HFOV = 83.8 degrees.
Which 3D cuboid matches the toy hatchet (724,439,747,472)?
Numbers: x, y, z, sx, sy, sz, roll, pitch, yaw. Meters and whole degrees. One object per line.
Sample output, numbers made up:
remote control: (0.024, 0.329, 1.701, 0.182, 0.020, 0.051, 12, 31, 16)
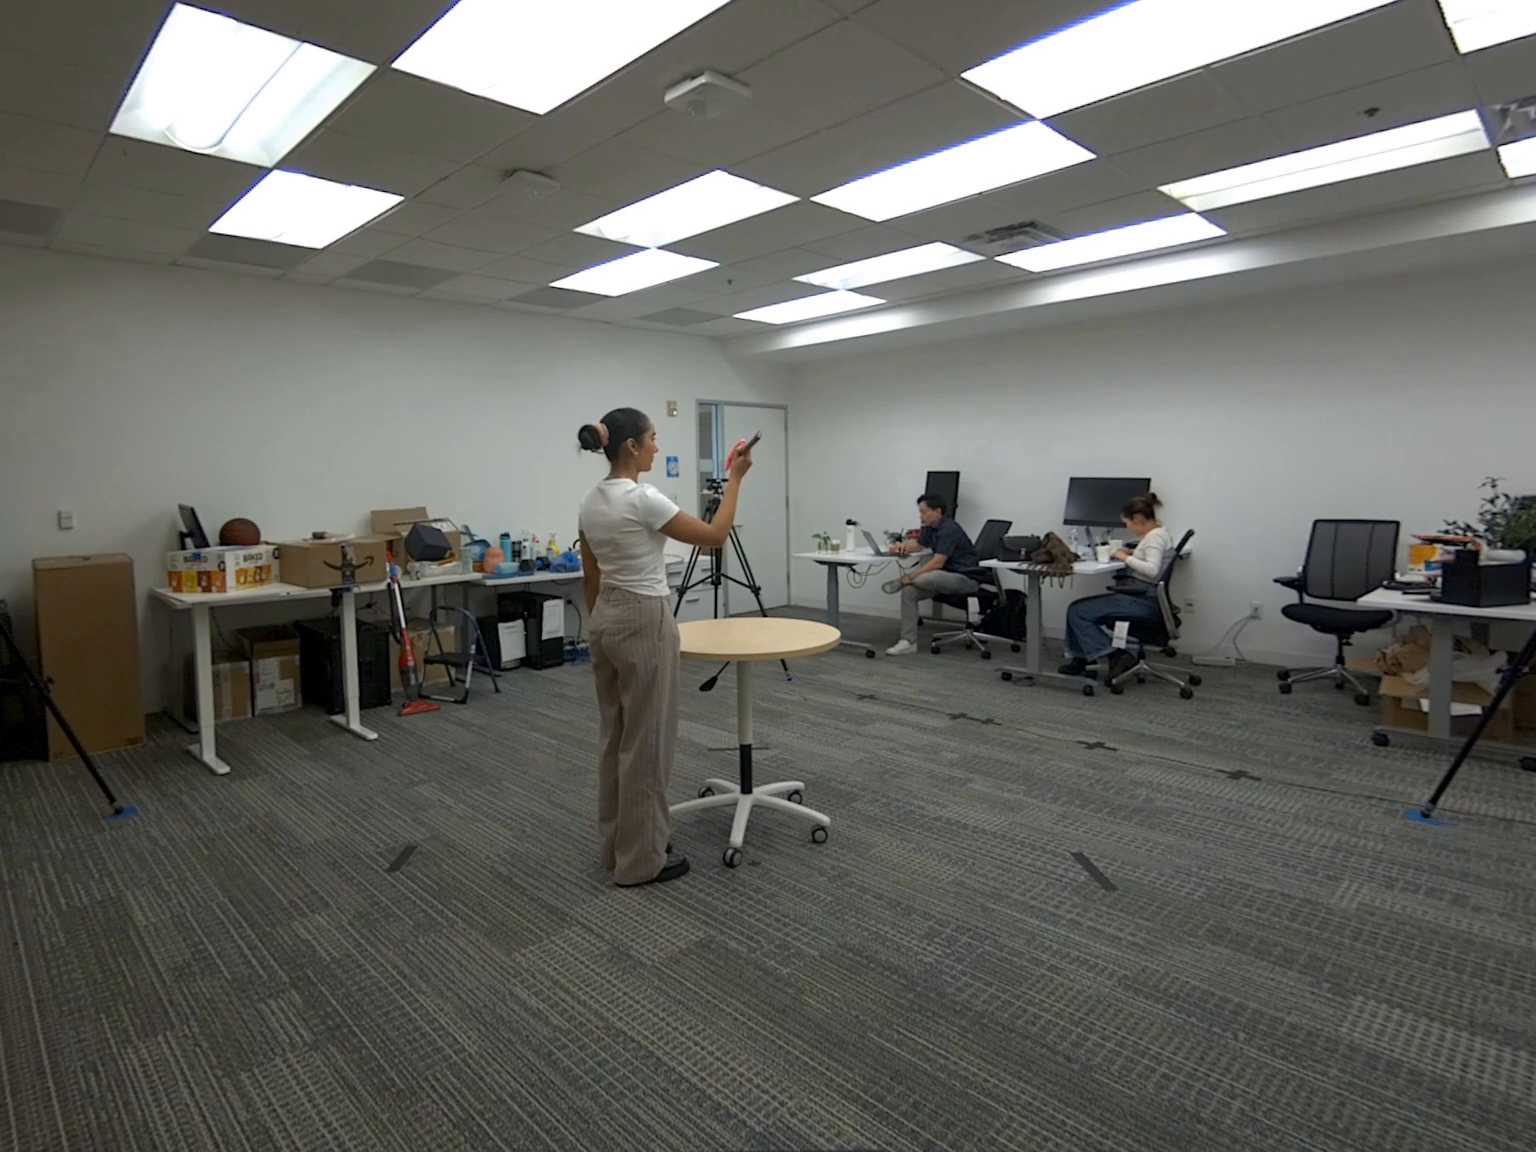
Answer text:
toy hatchet: (-0.084, -0.480, 3.062, 0.029, 0.133, 0.270, 25, -29, -14)
